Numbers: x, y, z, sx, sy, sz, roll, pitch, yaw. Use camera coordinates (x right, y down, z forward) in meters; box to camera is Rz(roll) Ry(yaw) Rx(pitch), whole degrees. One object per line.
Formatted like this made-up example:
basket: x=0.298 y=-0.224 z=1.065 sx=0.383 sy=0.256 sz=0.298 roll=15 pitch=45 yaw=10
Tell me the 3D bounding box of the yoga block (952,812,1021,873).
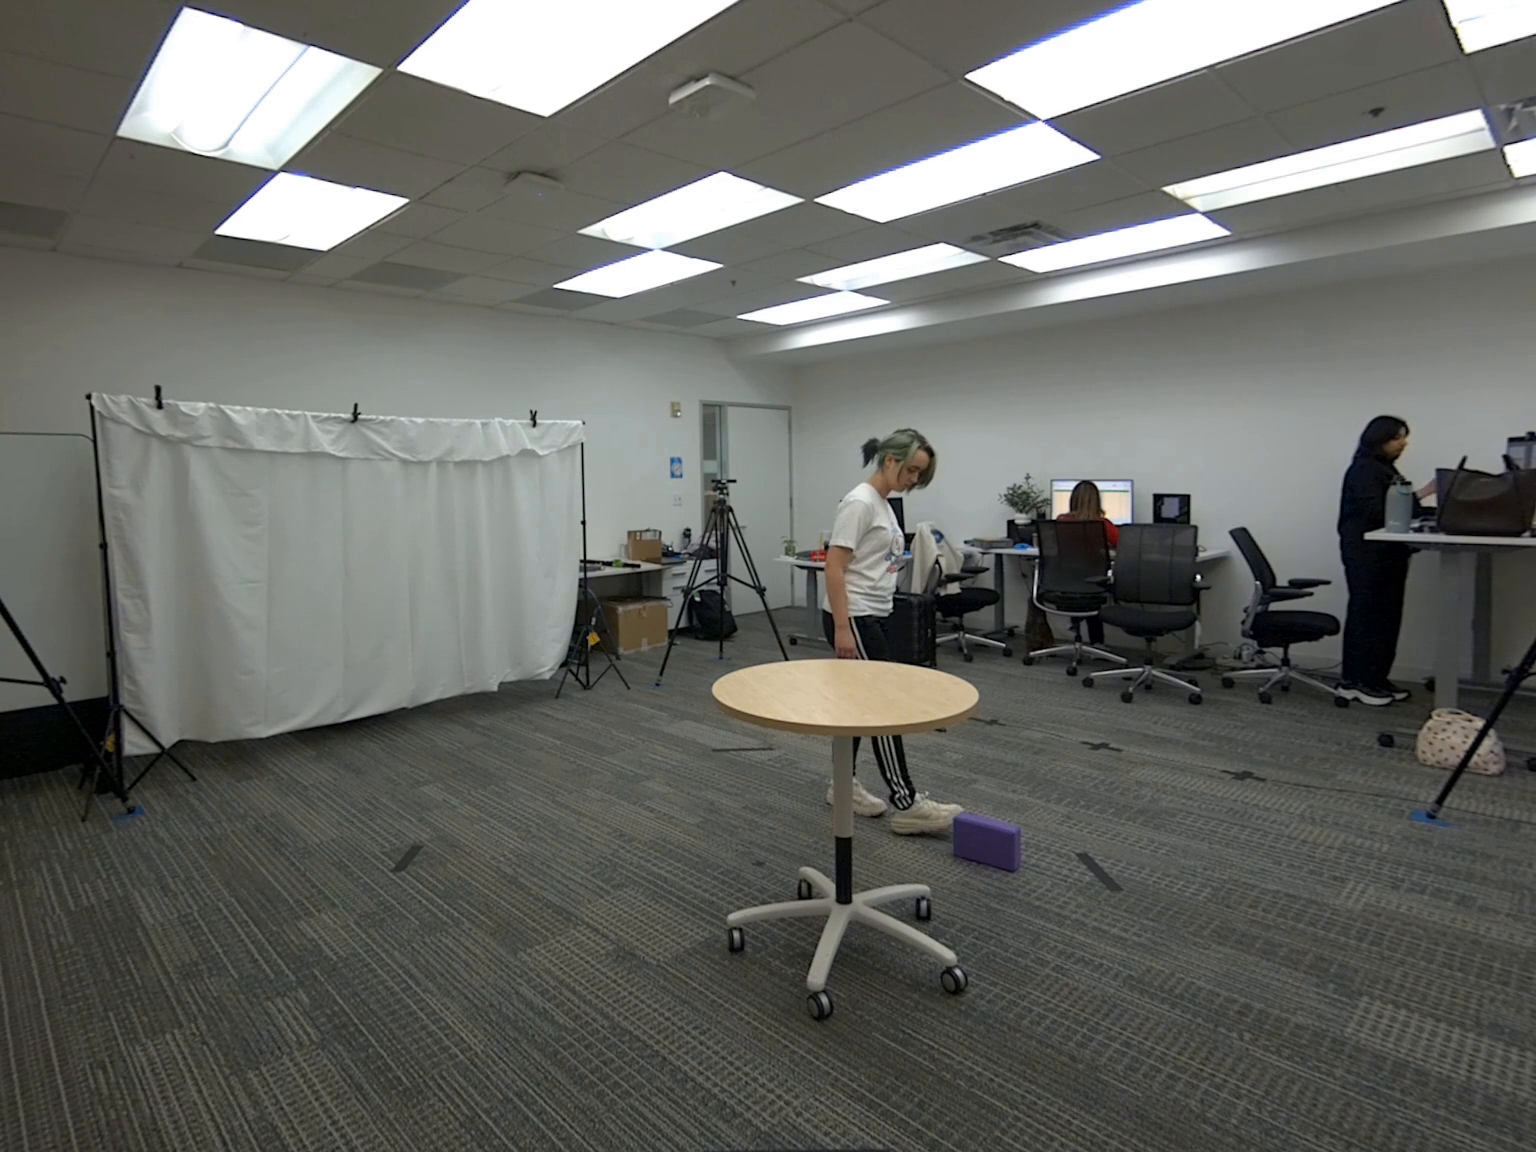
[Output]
yoga block: x=0.796 y=0.959 z=3.090 sx=0.236 sy=0.148 sz=0.074 roll=4 pitch=6 yaw=39
